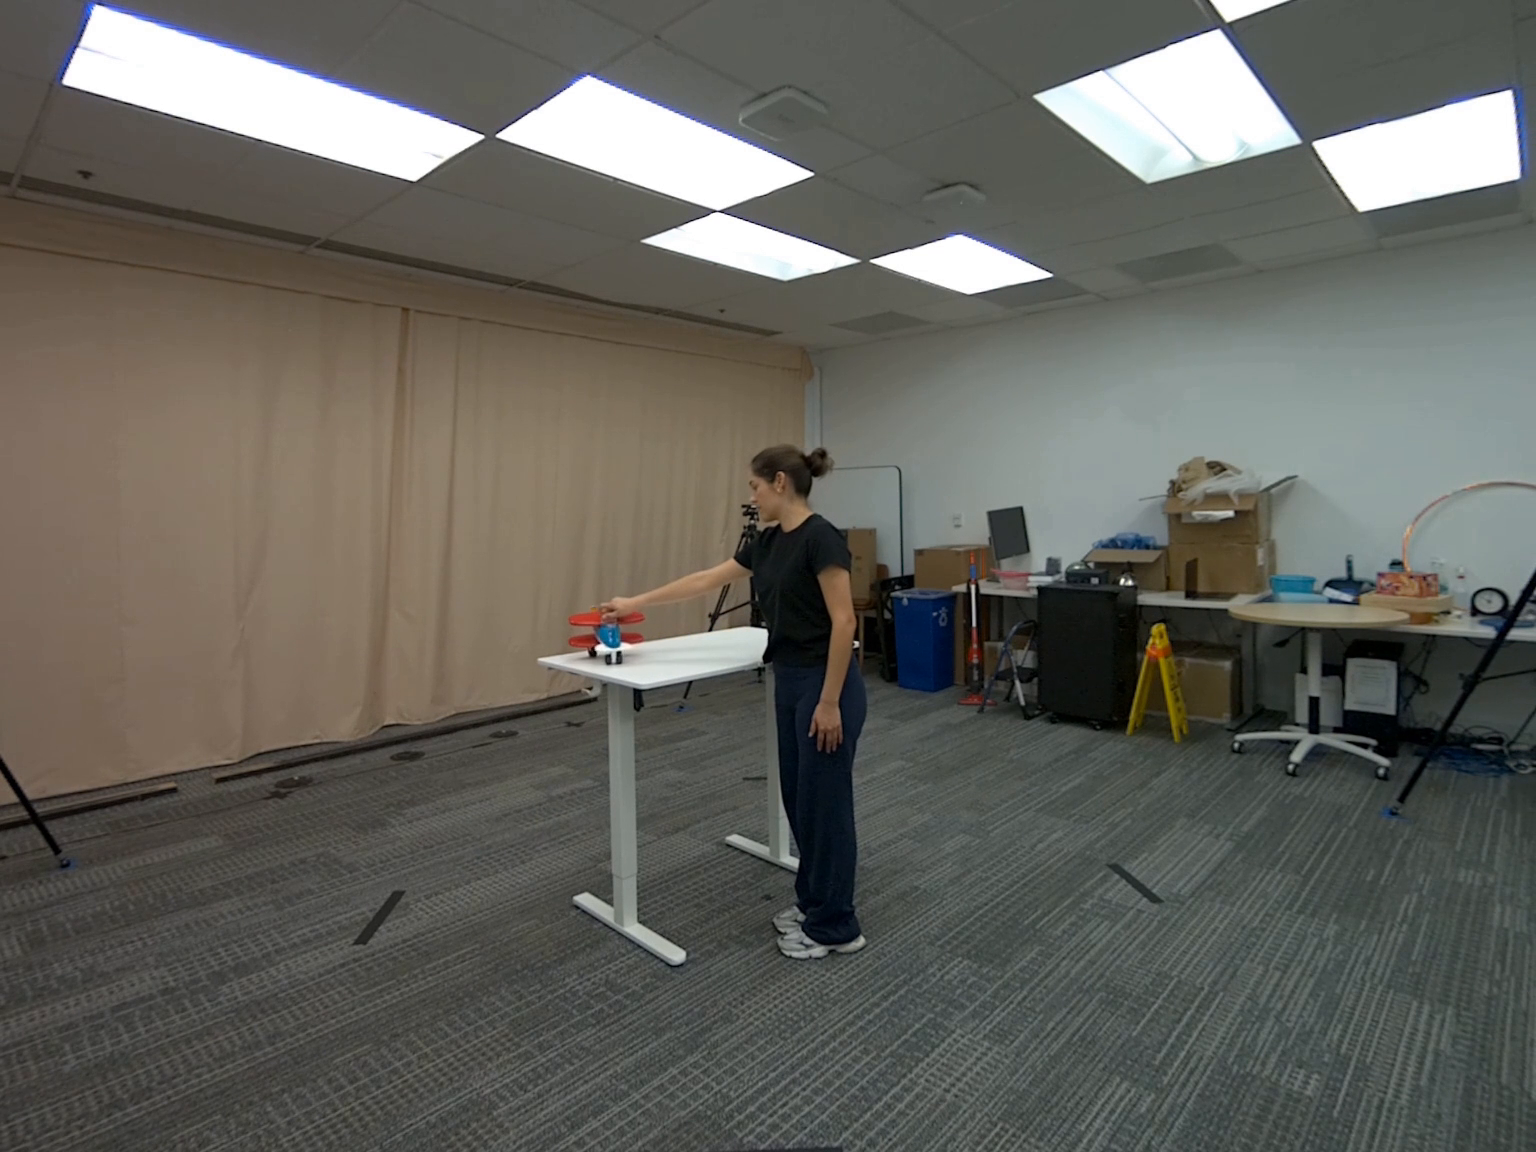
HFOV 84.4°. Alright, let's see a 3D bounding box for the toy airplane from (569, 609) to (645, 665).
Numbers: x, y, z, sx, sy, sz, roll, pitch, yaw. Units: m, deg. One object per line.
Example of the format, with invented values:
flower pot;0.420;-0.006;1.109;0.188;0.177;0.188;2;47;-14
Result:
toy airplane;-0.497;0.204;2.828;0.243;0.156;0.268;-5;6;-44
